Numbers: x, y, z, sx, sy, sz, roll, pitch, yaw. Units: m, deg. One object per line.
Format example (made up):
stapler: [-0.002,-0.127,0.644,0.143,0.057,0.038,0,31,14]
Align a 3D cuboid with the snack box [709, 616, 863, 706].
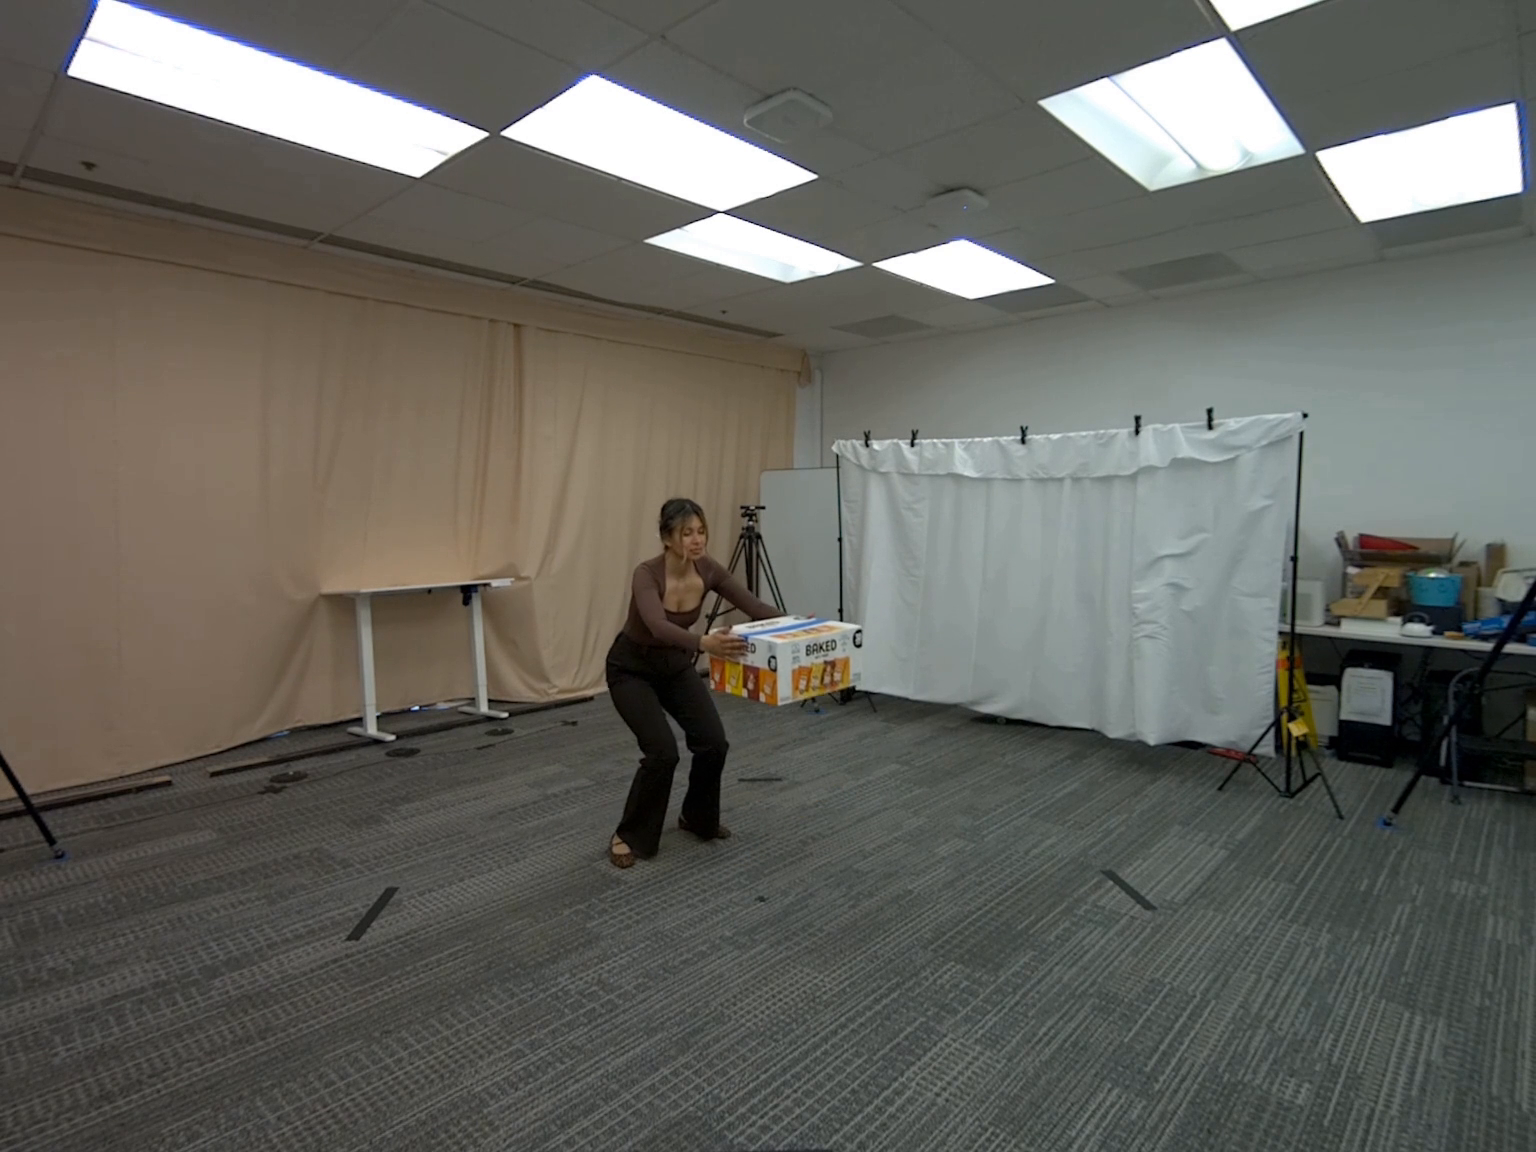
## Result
snack box: [0.067,0.281,2.881,0.393,0.205,0.352,-7,8,-42]
